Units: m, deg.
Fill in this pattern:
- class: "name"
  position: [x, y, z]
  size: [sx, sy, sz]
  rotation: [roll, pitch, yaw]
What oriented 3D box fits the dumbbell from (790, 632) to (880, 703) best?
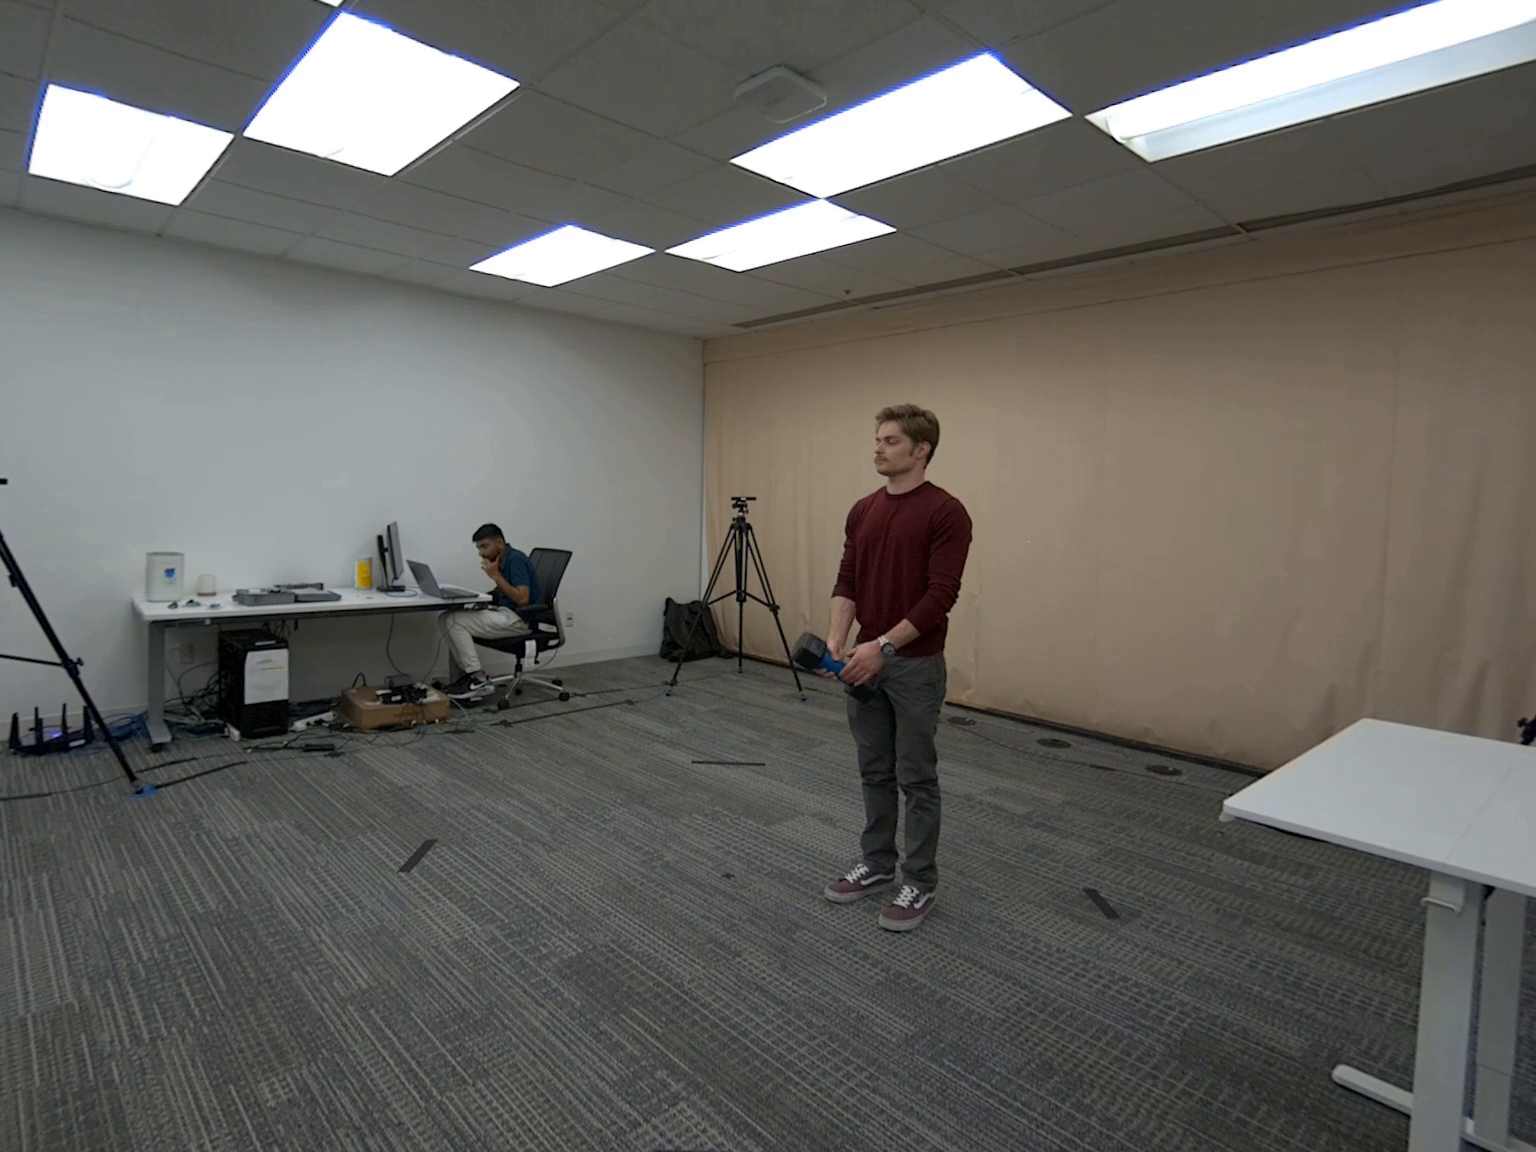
- class: "dumbbell"
  position: [0.219, 0.309, 2.749]
  size: [0.291, 0.124, 0.108]
  rotation: [27, -35, -7]
